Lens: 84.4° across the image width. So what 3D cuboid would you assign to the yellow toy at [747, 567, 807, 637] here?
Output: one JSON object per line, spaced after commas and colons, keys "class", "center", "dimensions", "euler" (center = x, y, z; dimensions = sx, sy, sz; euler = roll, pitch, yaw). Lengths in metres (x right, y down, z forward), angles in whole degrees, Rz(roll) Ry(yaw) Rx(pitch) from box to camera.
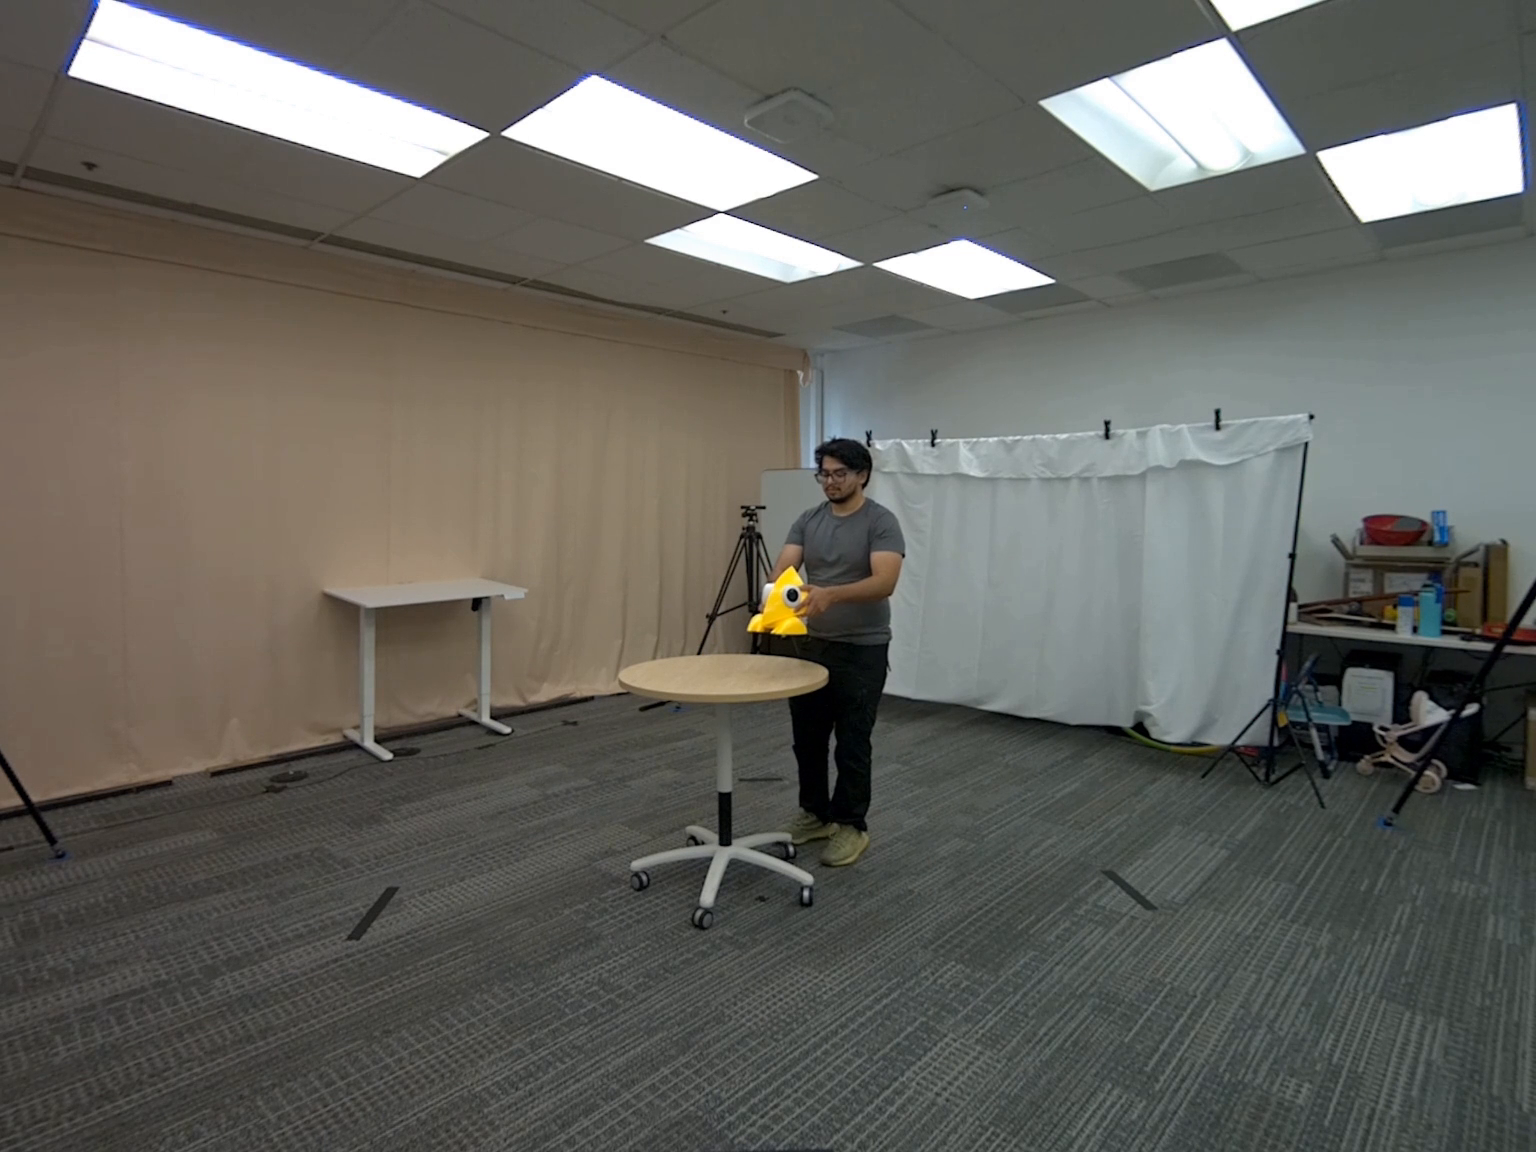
{"class": "yellow toy", "center": [0.046, 0.081, 2.944], "dimensions": [0.211, 0.231, 0.187], "euler": [2, 0, 42]}
